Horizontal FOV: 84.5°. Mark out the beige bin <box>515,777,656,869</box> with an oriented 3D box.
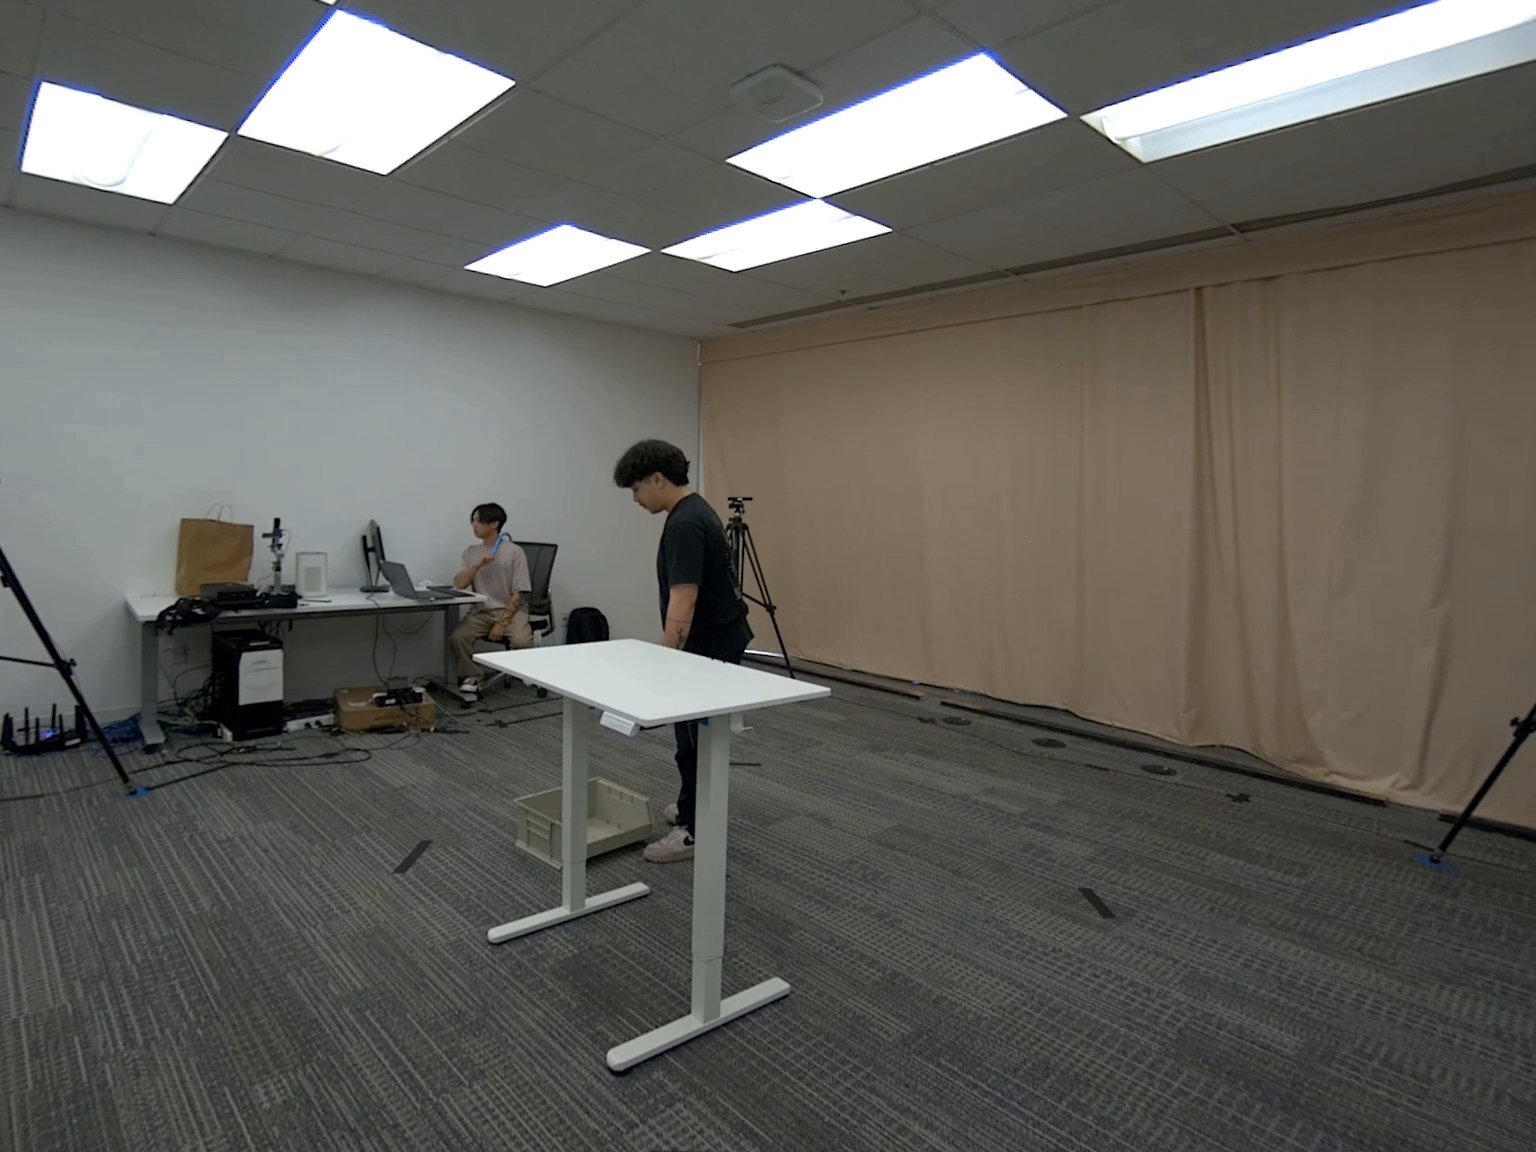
[{"bbox_3d":[-0.736,0.983,3.355,0.387,0.188,0.413,5,7,44],"label":"beige bin"}]
